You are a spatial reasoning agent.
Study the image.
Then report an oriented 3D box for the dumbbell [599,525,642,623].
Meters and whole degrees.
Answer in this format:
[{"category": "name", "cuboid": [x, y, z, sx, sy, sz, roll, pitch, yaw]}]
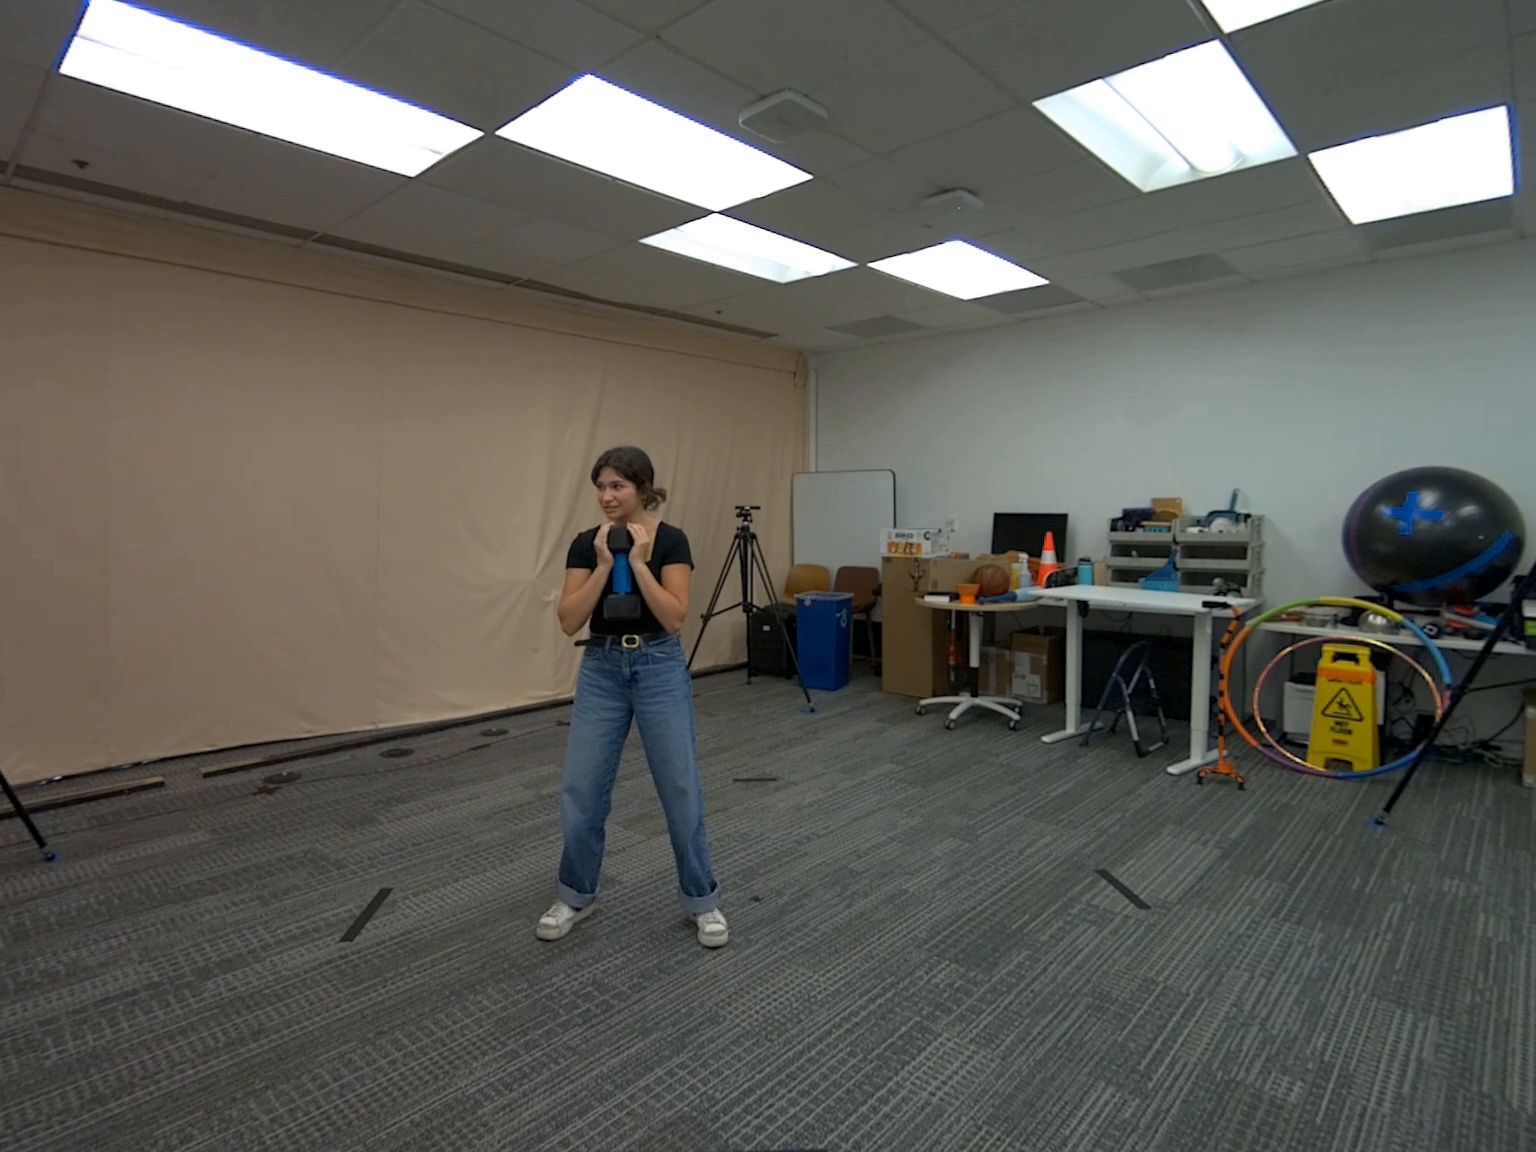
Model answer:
[{"category": "dumbbell", "cuboid": [-0.458, -0.005, 2.661, 0.119, 0.293, 0.112, -1, 2, -43]}]
